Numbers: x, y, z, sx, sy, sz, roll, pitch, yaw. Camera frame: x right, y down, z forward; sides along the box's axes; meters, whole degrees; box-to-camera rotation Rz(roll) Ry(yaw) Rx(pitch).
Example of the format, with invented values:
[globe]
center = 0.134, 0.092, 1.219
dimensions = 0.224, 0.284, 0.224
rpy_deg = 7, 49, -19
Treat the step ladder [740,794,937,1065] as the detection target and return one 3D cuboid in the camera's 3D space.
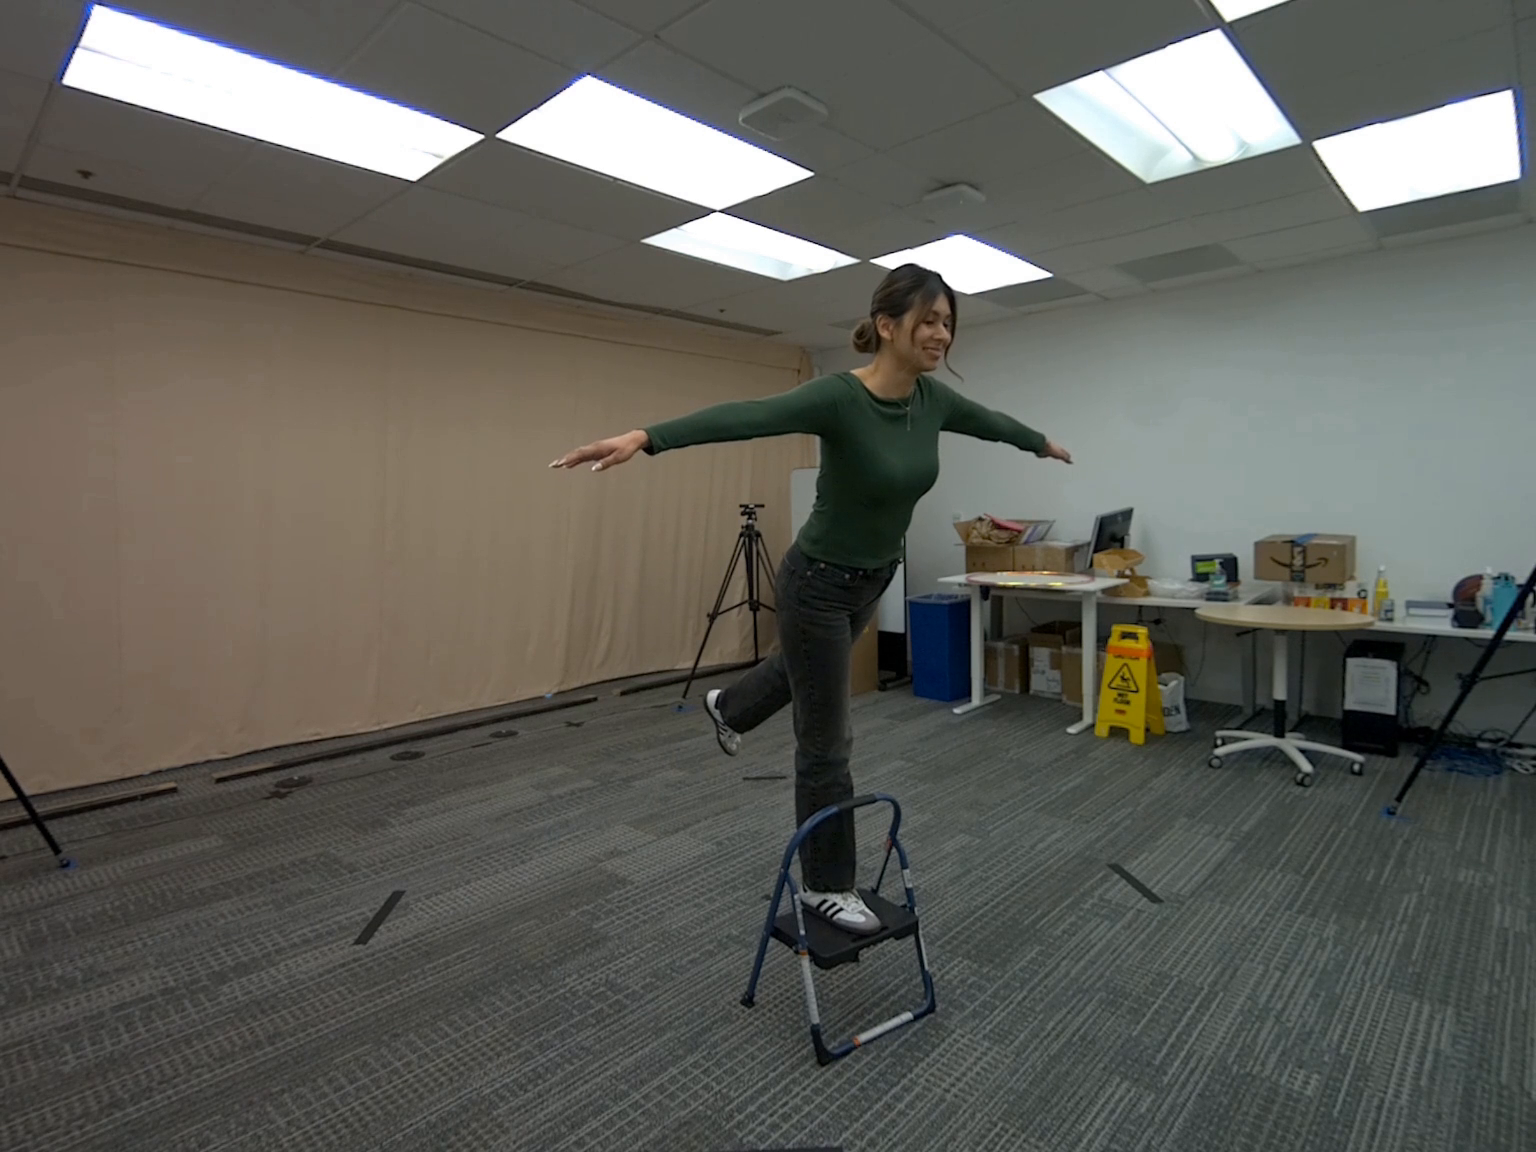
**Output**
[step ladder]
center = 0.197, 0.893, 2.316
dimensions = 0.418, 0.604, 0.360
rpy_deg = -4, 5, -36
